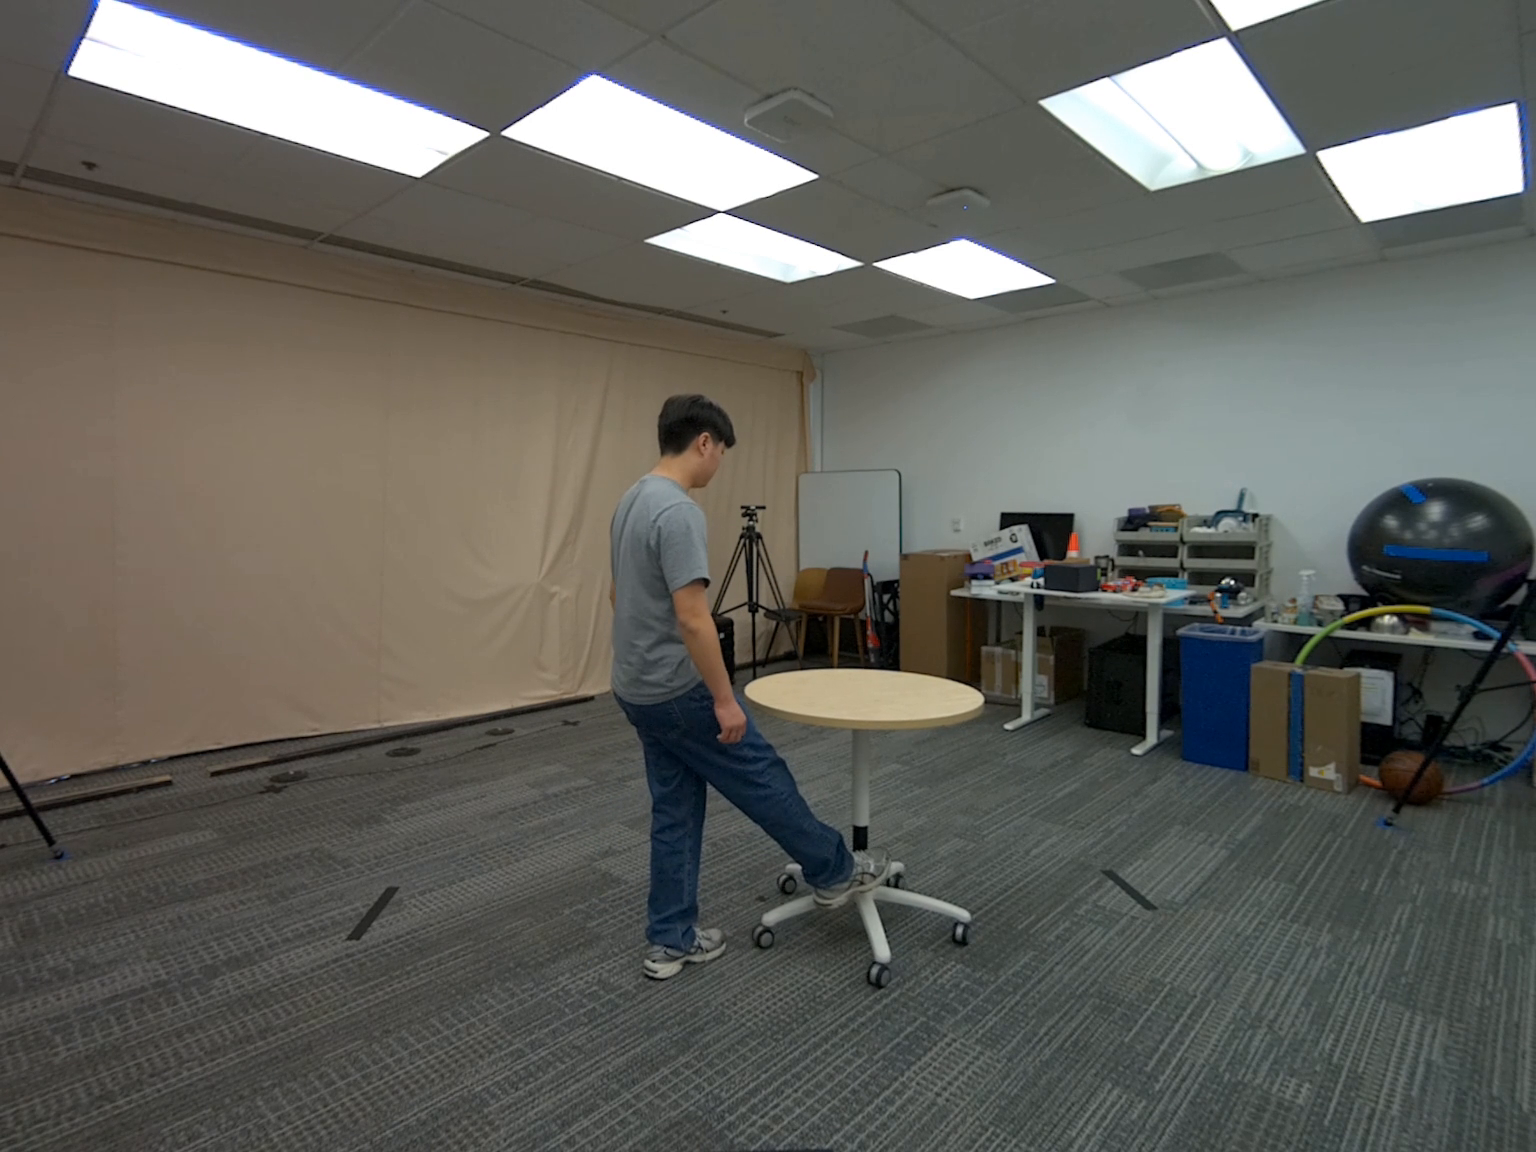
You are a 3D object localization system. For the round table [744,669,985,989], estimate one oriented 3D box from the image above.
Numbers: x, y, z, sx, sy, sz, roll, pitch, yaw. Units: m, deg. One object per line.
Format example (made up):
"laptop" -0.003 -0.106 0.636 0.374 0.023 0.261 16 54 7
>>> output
"round table" 0.311 0.773 2.771 0.763 0.792 0.767 0 4 -2
